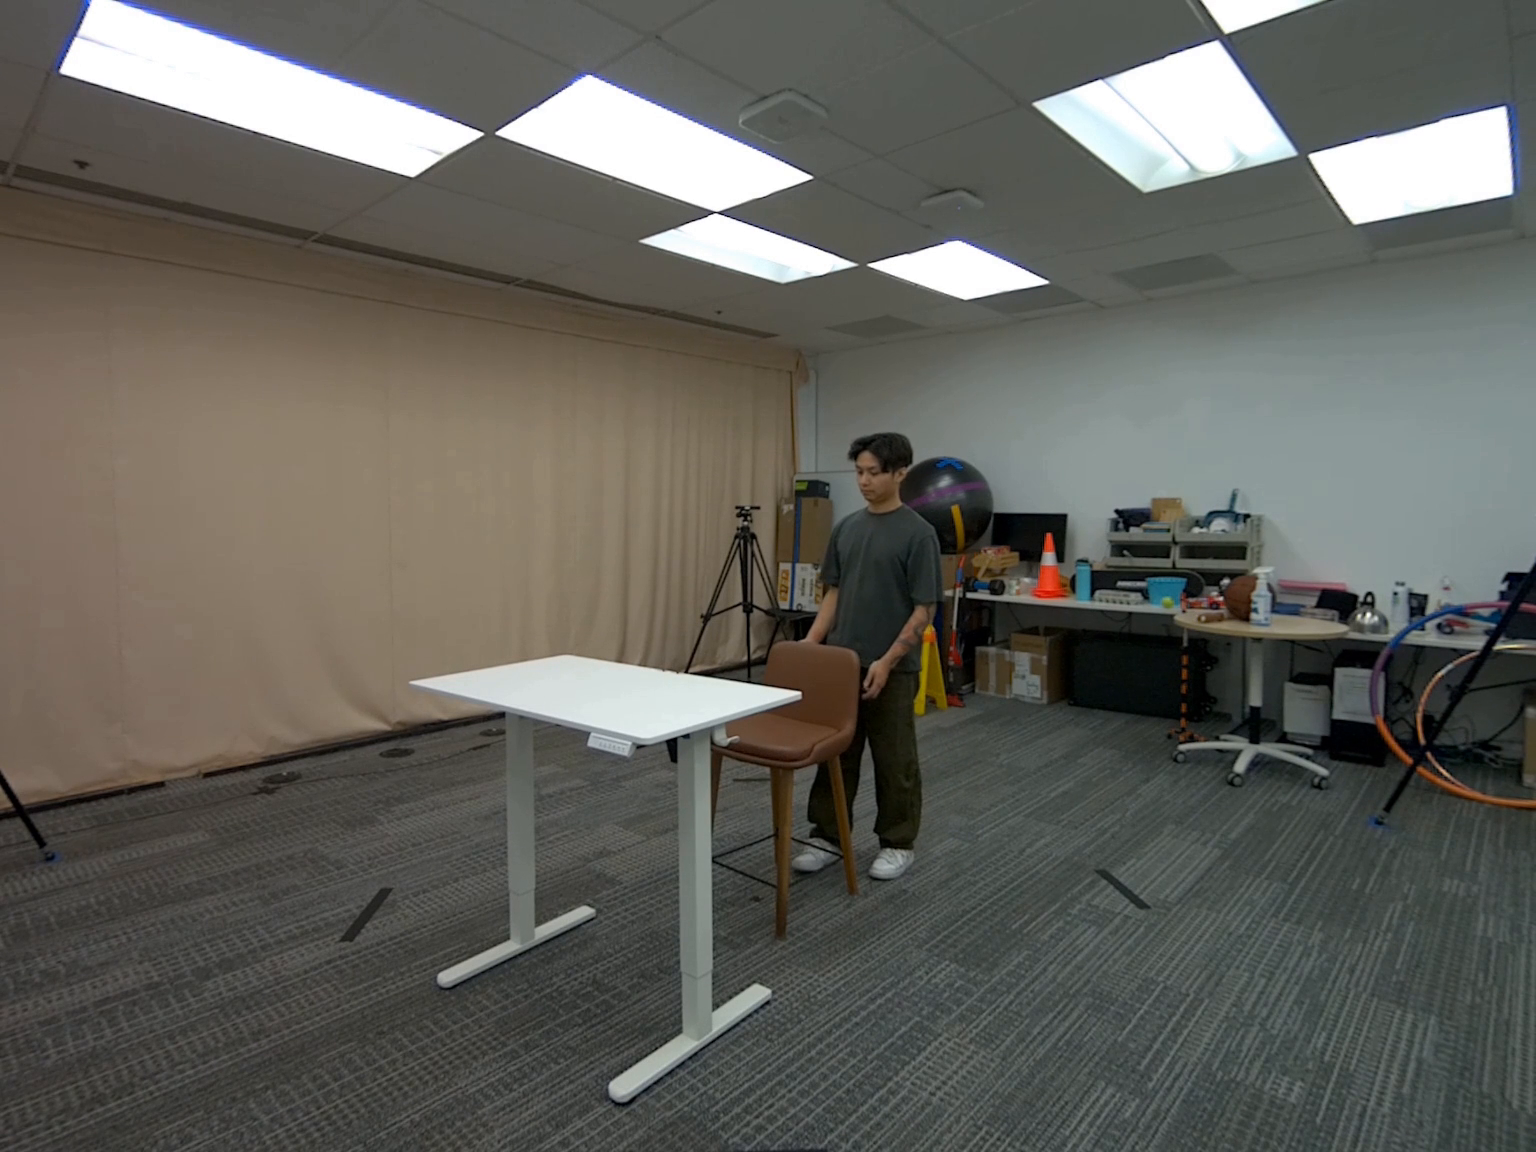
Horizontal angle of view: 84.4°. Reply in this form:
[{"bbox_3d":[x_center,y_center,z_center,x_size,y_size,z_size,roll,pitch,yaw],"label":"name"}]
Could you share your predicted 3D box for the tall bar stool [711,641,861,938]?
[{"bbox_3d":[0.044,0.708,2.978,0.472,0.889,0.453,3,3,42],"label":"tall bar stool"}]
